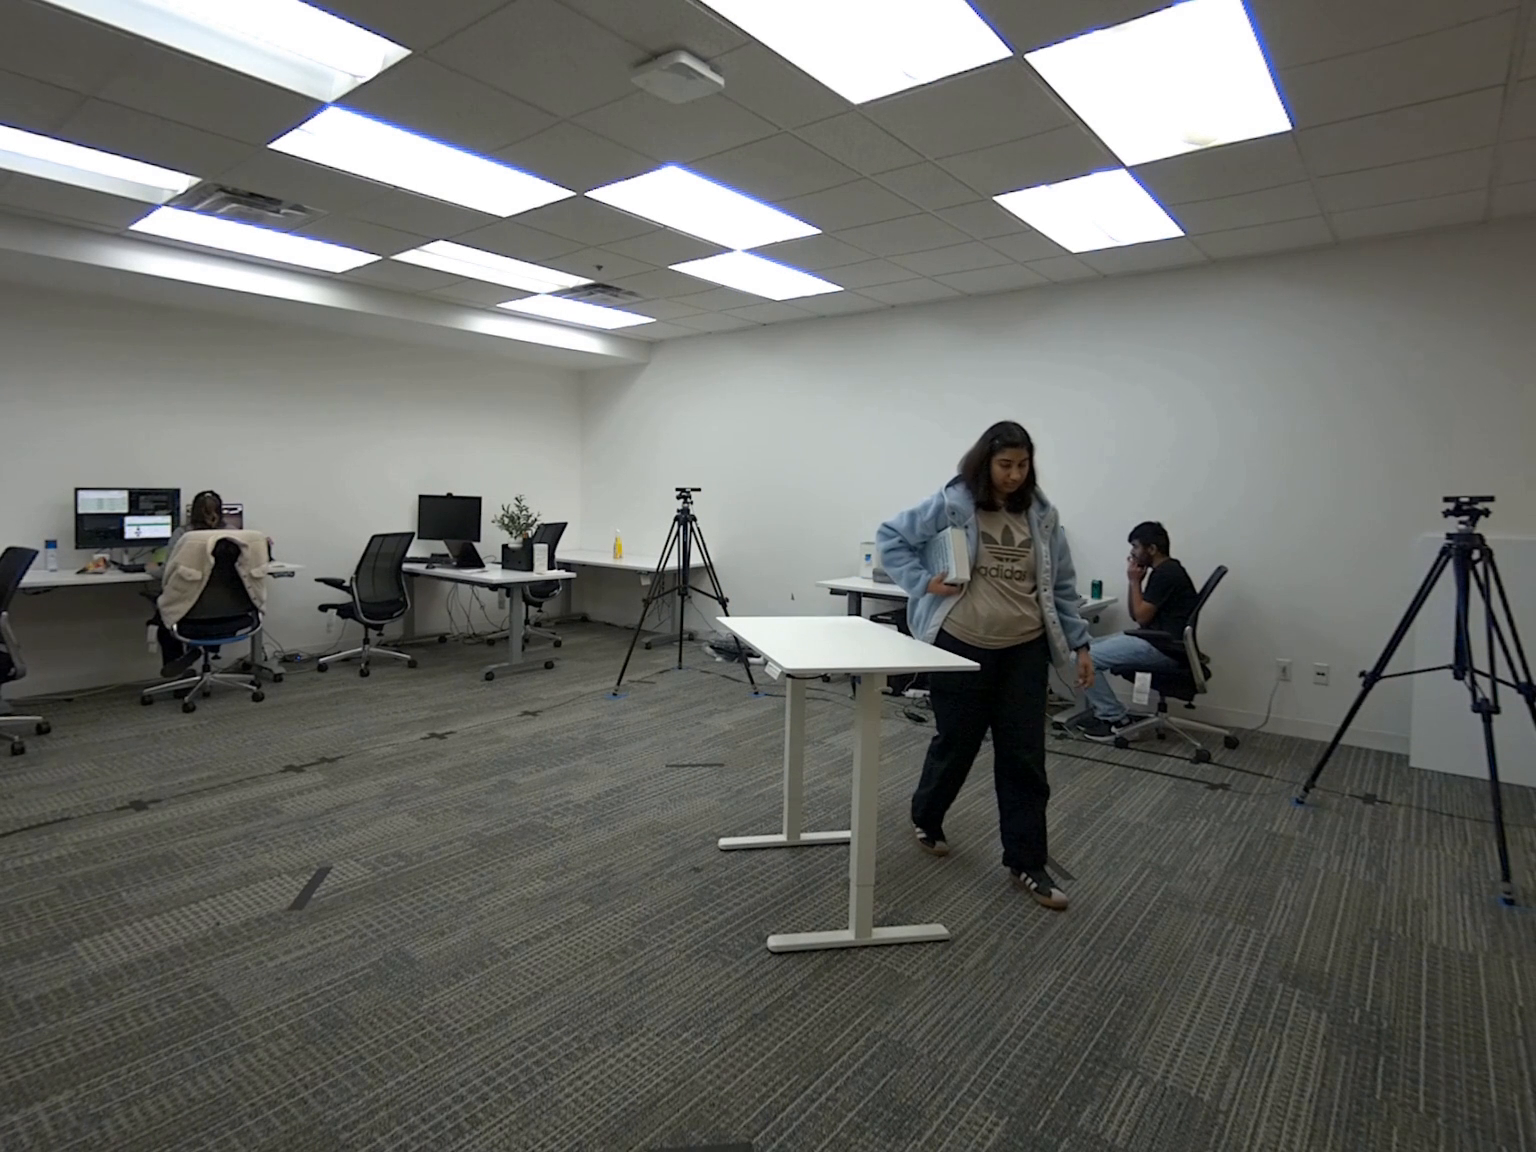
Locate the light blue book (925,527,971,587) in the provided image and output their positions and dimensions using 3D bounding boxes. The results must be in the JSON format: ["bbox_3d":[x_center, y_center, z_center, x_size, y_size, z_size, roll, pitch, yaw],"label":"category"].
[{"bbox_3d":[0.632,-0.066,3.096,0.058,0.193,0.262,1,-8,-13],"label":"light blue book"}]
